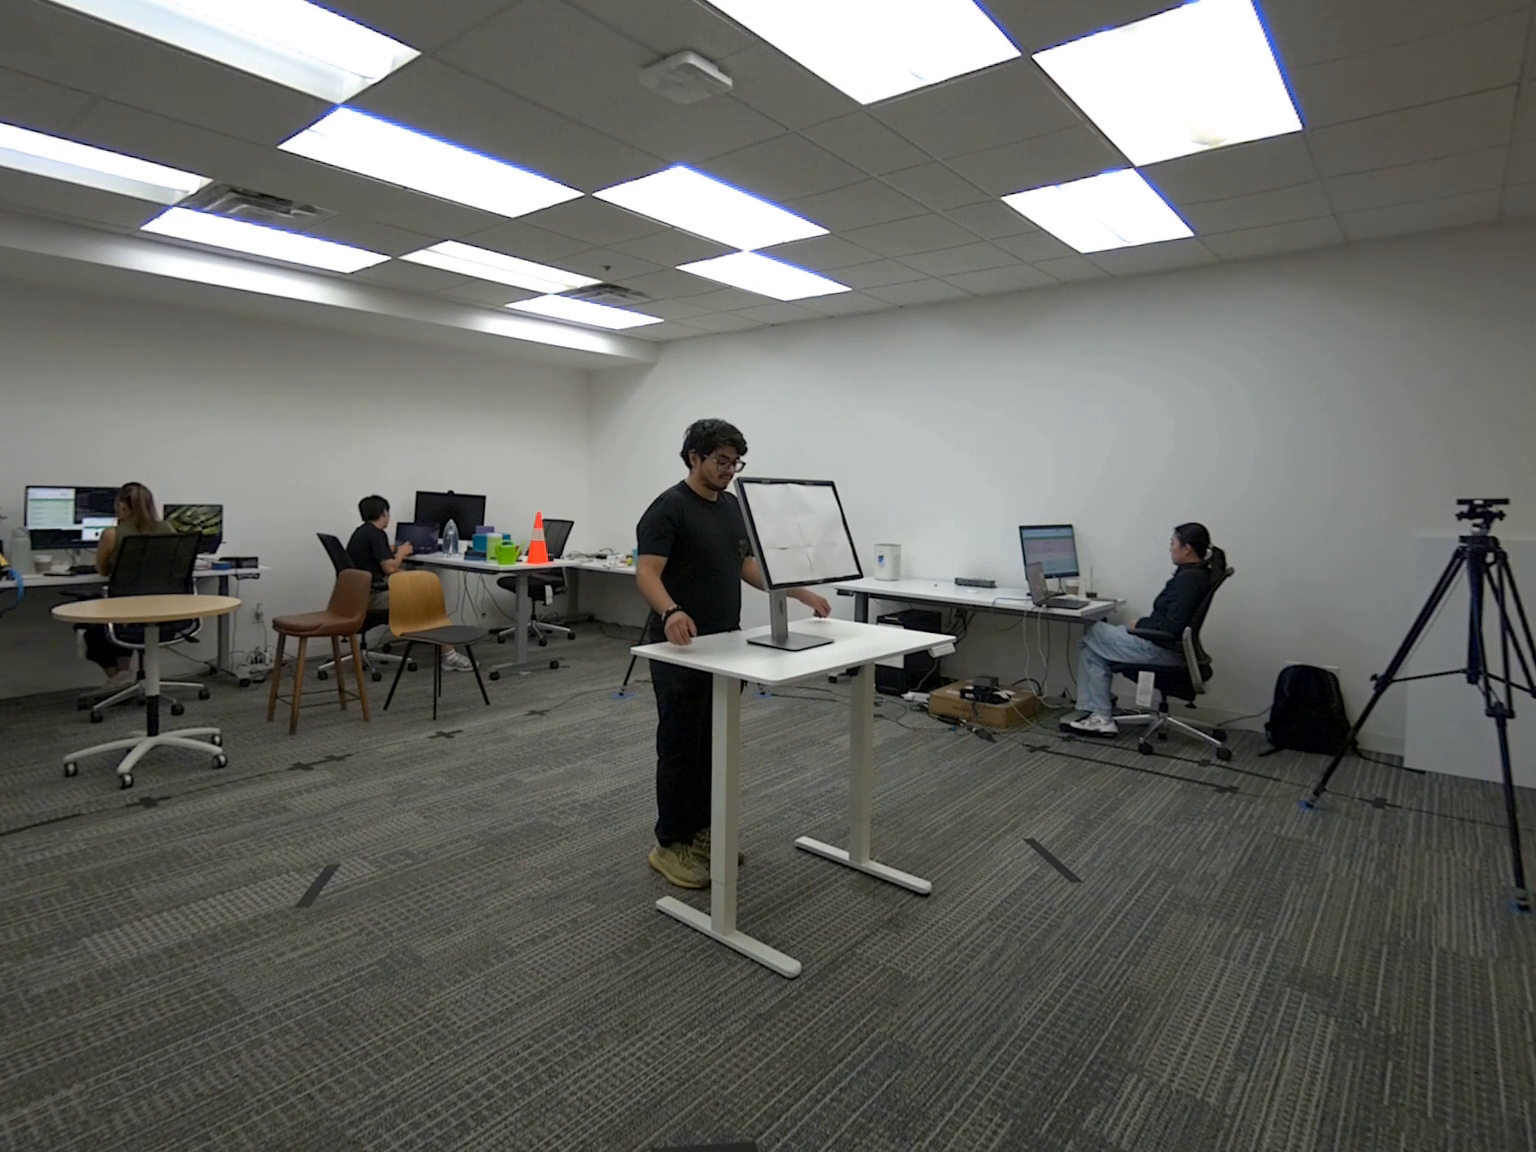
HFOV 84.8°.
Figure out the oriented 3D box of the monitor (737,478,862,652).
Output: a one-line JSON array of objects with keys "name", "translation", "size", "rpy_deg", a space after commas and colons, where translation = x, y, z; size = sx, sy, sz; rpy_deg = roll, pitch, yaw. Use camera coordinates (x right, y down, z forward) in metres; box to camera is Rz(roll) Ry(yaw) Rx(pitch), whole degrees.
[{"name": "monitor", "translation": [0.053, -0.049, 2.829], "size": [0.215, 0.556, 0.549], "rpy_deg": [-11, -4, 37]}]
